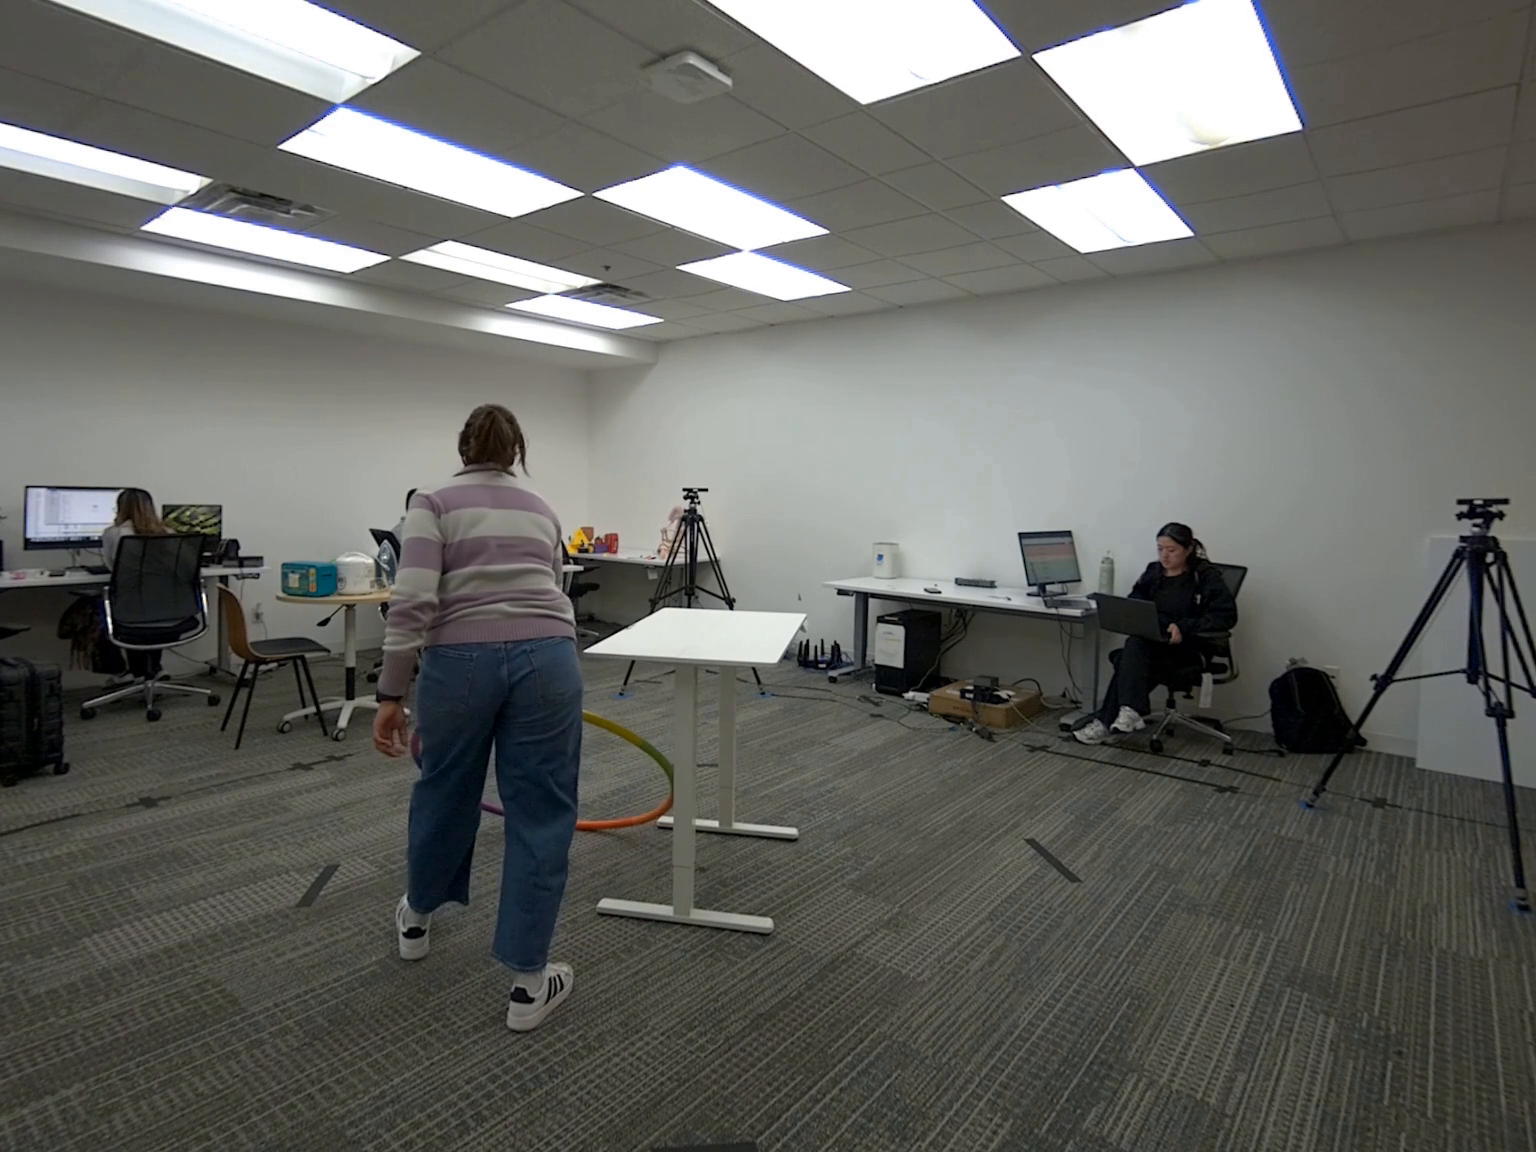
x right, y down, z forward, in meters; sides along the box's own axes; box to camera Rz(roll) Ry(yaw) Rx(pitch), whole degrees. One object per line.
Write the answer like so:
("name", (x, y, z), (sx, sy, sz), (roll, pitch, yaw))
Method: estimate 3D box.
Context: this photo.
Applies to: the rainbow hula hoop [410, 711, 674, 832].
("rainbow hula hoop", (-0.827, 0.711, 3.102), (0.982, 0.036, 0.952), (5, -39, 3))
